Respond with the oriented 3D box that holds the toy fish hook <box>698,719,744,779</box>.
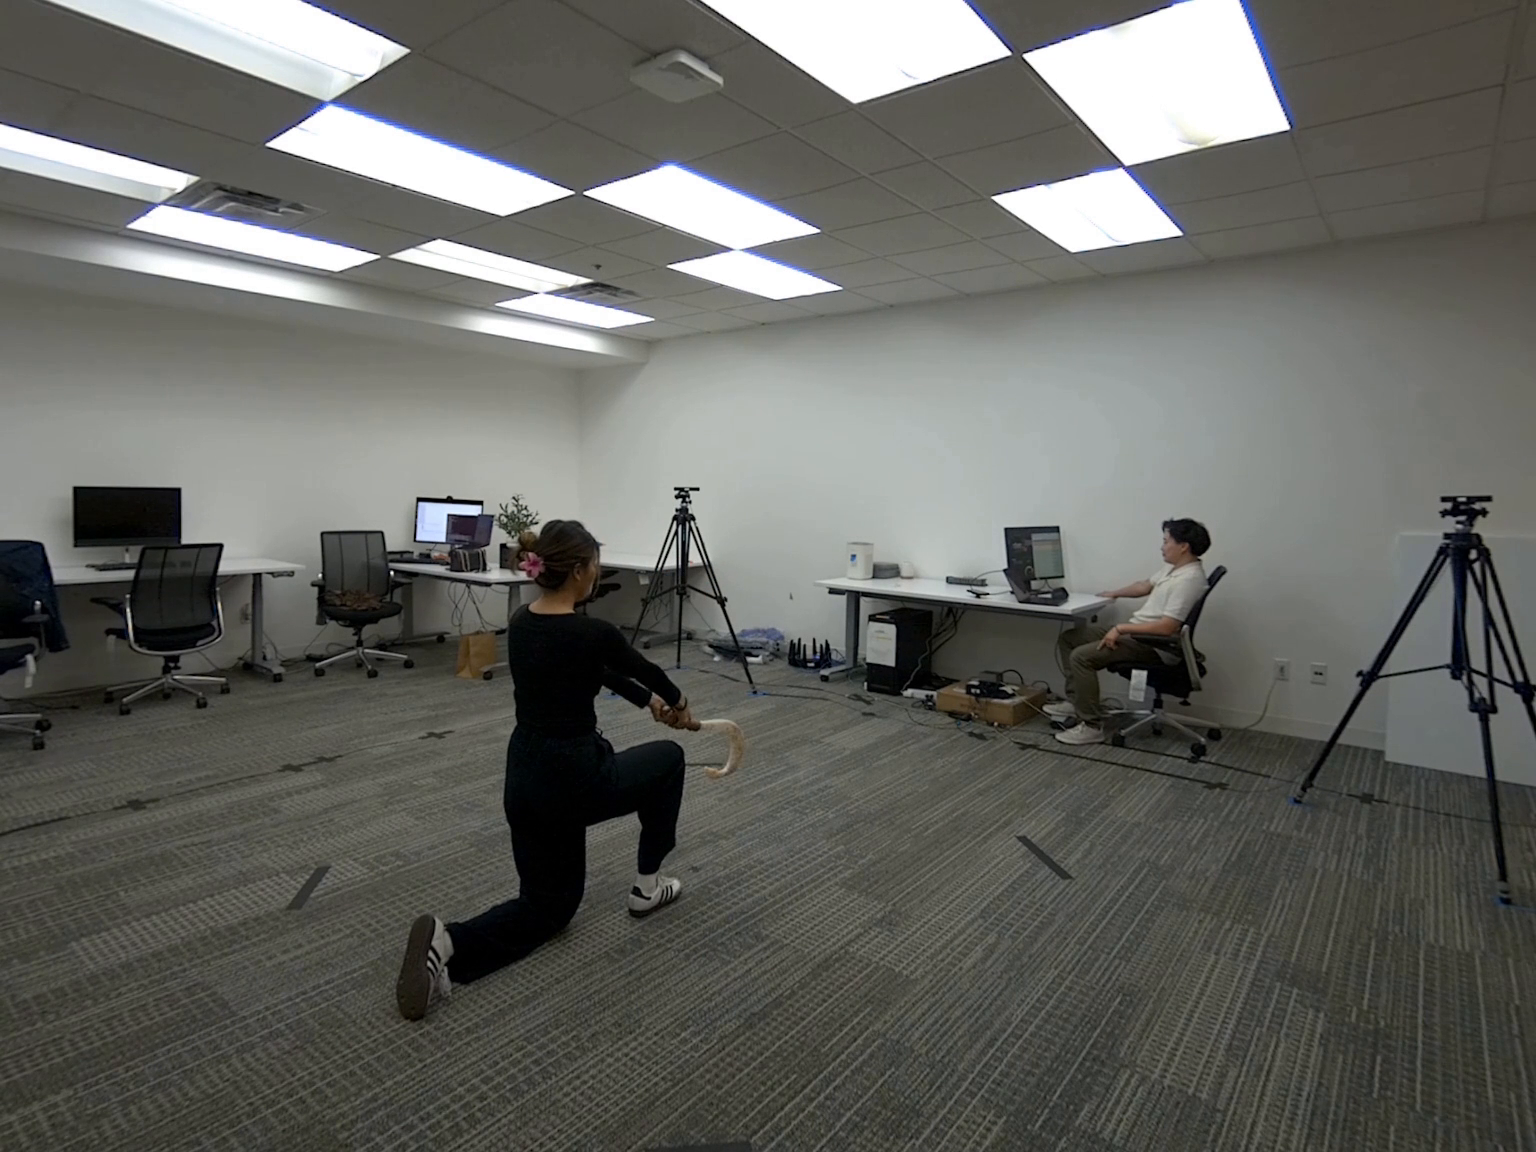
[{"bbox_3d":[-0.239,0.571,3.160,0.050,0.228,0.486,-6,-24,39],"label":"toy fish hook"}]
